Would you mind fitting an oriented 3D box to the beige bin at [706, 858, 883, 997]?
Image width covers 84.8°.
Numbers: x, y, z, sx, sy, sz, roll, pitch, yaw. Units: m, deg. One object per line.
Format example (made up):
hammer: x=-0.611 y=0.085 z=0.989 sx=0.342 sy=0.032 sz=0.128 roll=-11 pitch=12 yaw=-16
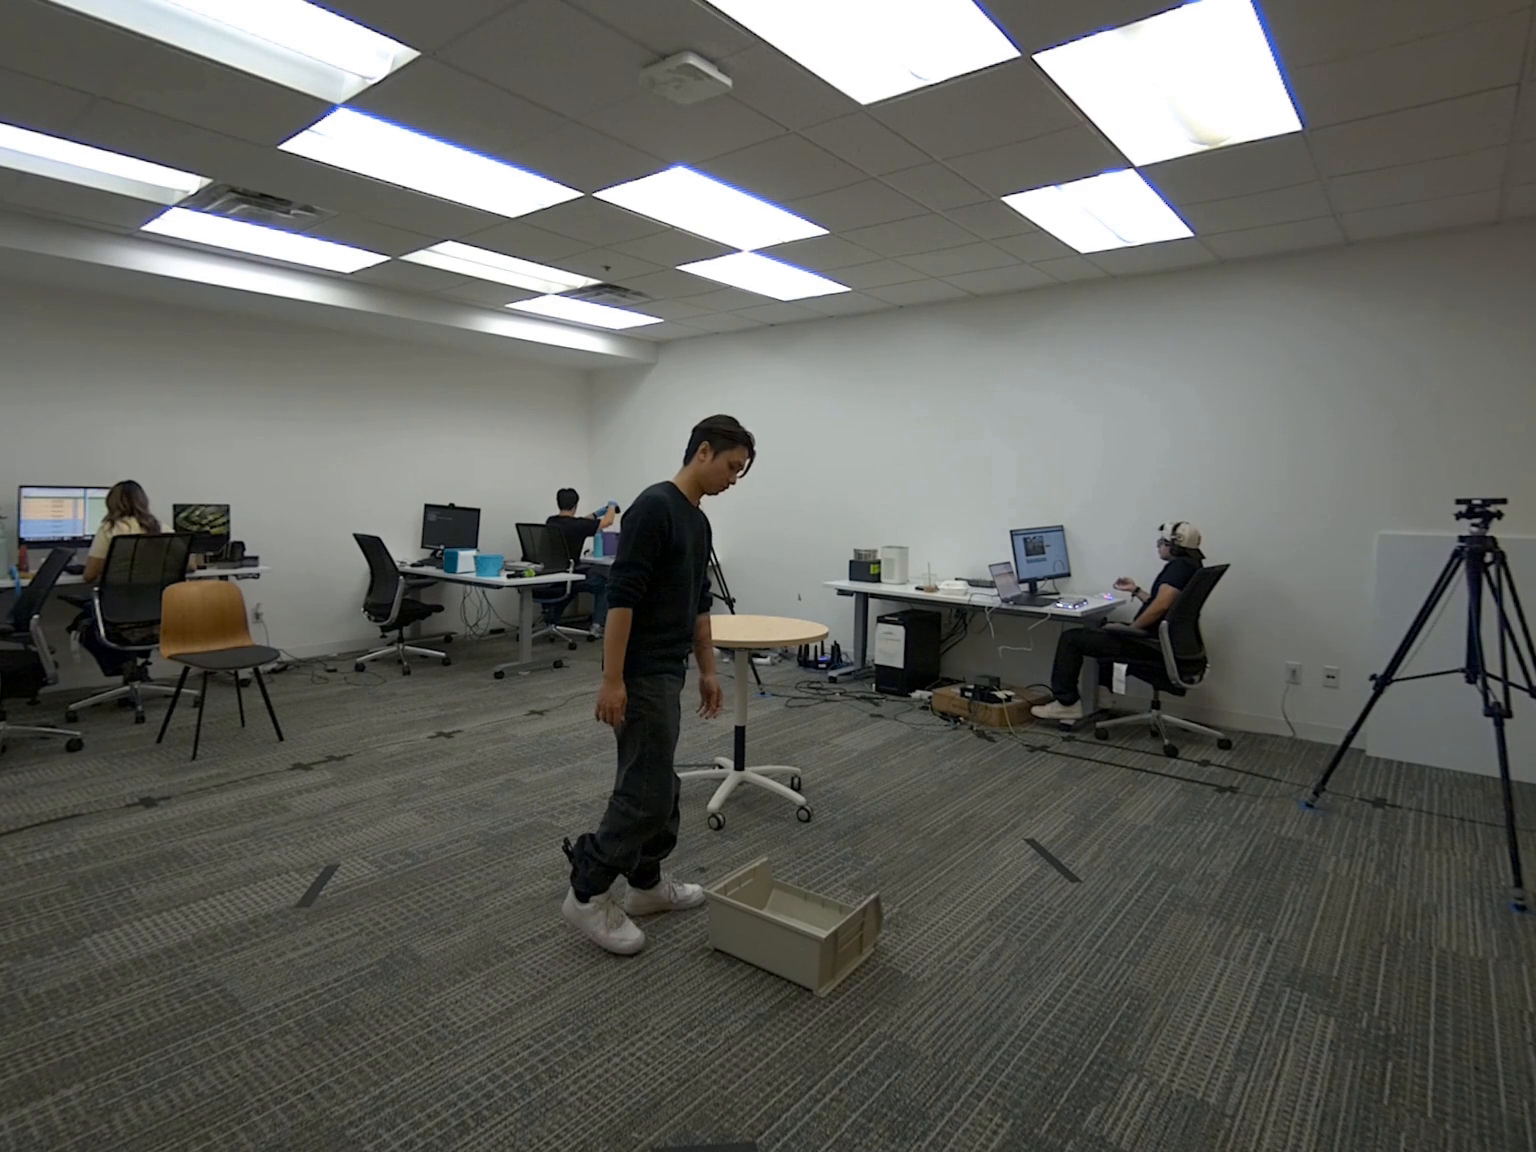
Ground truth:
beige bin: x=0.069 y=1.036 z=2.585 sx=0.436 sy=0.188 sz=0.367 roll=5 pitch=7 yaw=35
